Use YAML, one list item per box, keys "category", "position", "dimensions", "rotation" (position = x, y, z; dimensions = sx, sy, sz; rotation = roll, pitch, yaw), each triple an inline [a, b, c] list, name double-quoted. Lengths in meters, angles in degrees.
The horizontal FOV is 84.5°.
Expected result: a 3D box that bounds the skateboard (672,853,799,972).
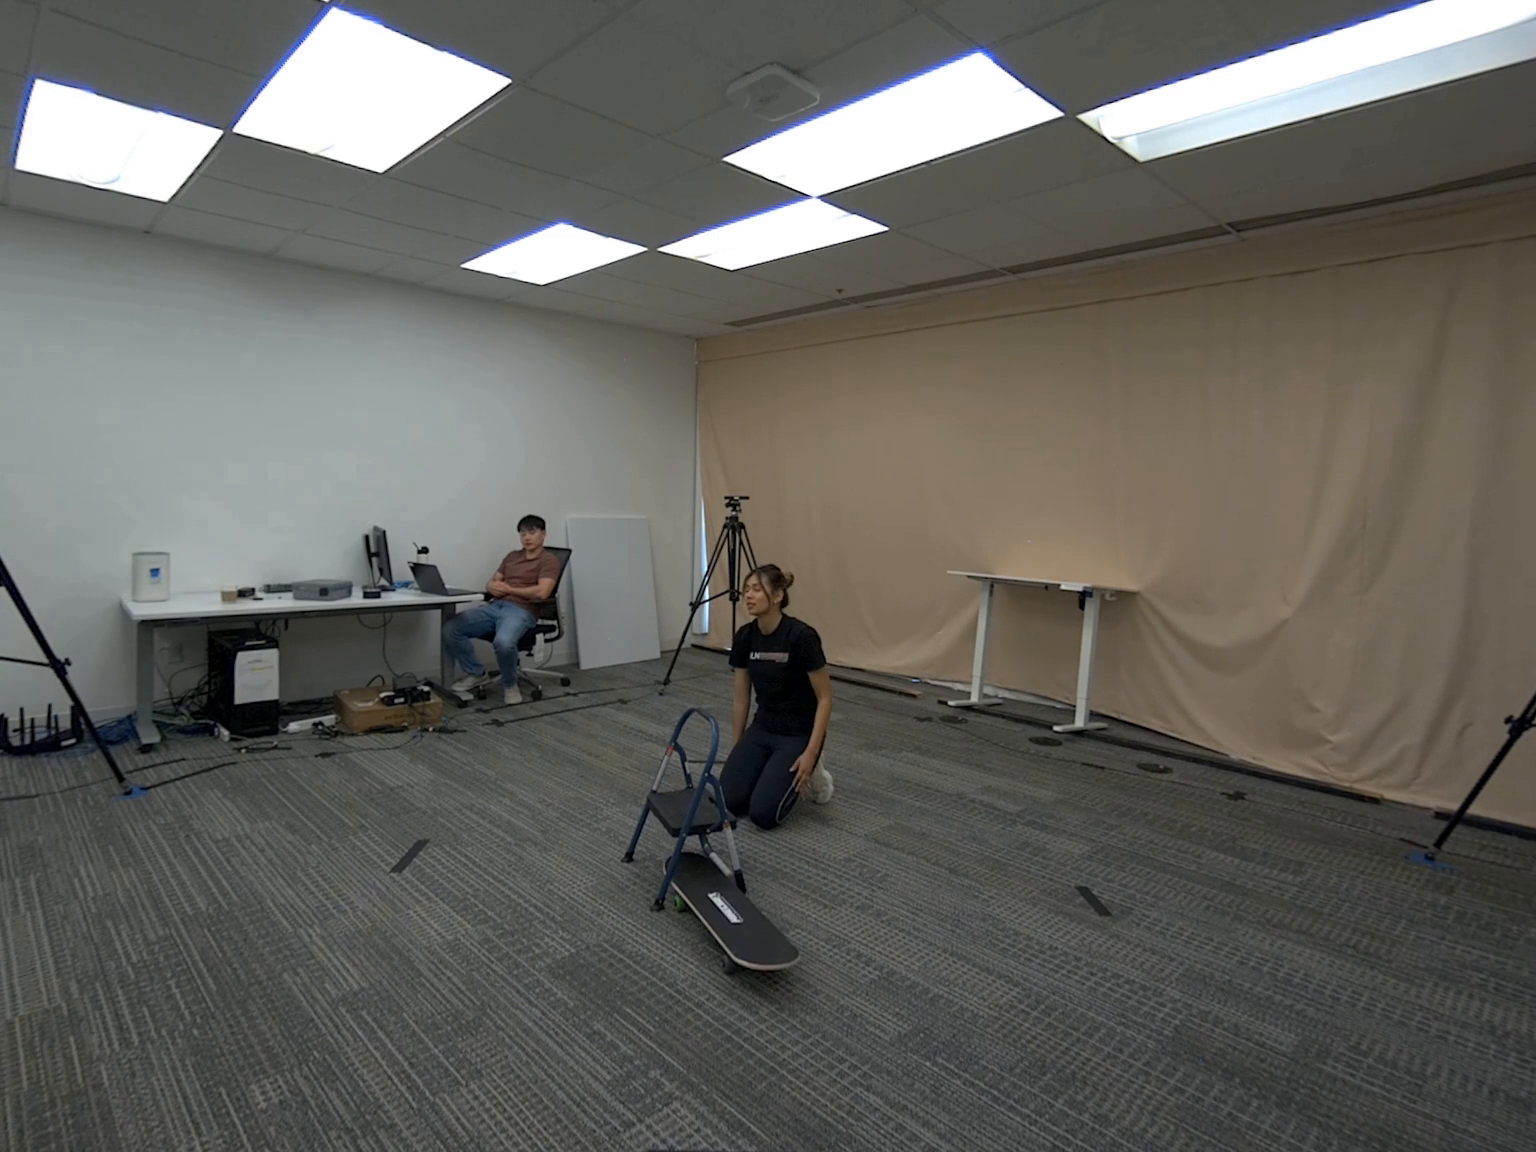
- category: "skateboard"
  position: [-0.148, 1.087, 2.677]
  dimensions: [0.190, 0.110, 0.802]
  rotation: [0, 6, -25]
